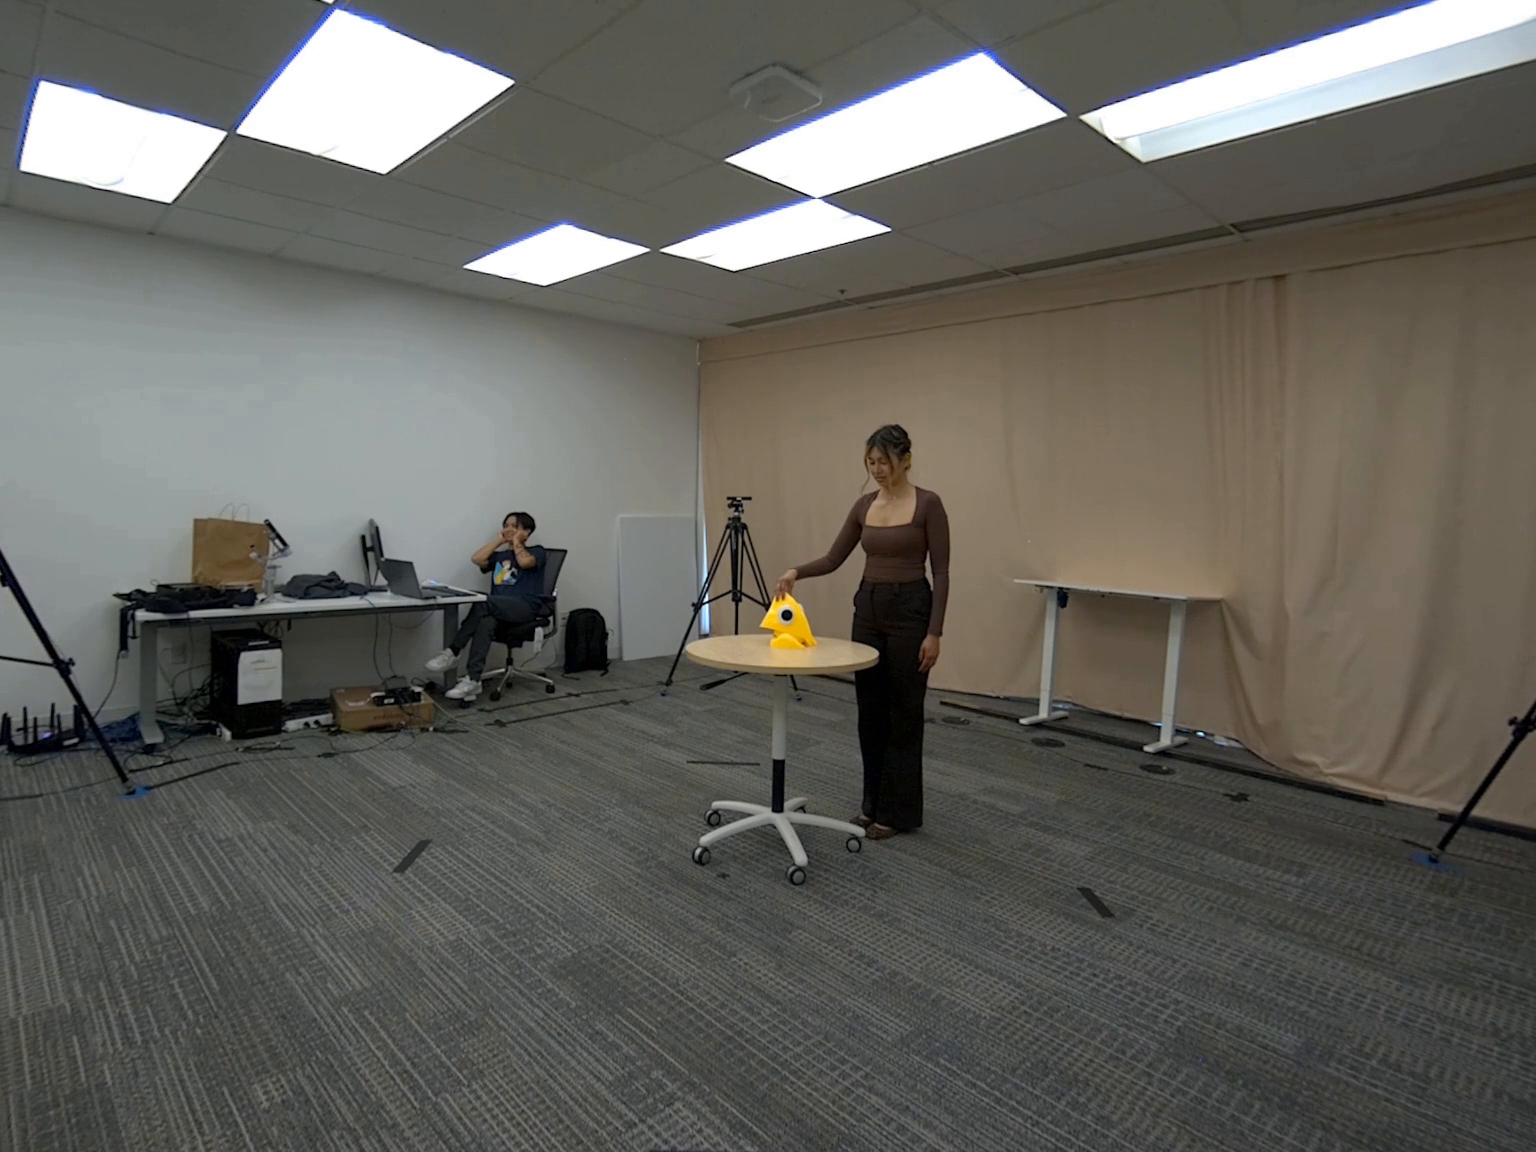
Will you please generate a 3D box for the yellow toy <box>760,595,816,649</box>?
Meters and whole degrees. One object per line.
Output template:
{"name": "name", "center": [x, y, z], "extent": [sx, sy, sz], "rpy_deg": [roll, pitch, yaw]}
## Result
{"name": "yellow toy", "center": [0.090, 0.170, 3.467], "extent": [0.197, 0.230, 0.201], "rpy_deg": [4, 4, 29]}
